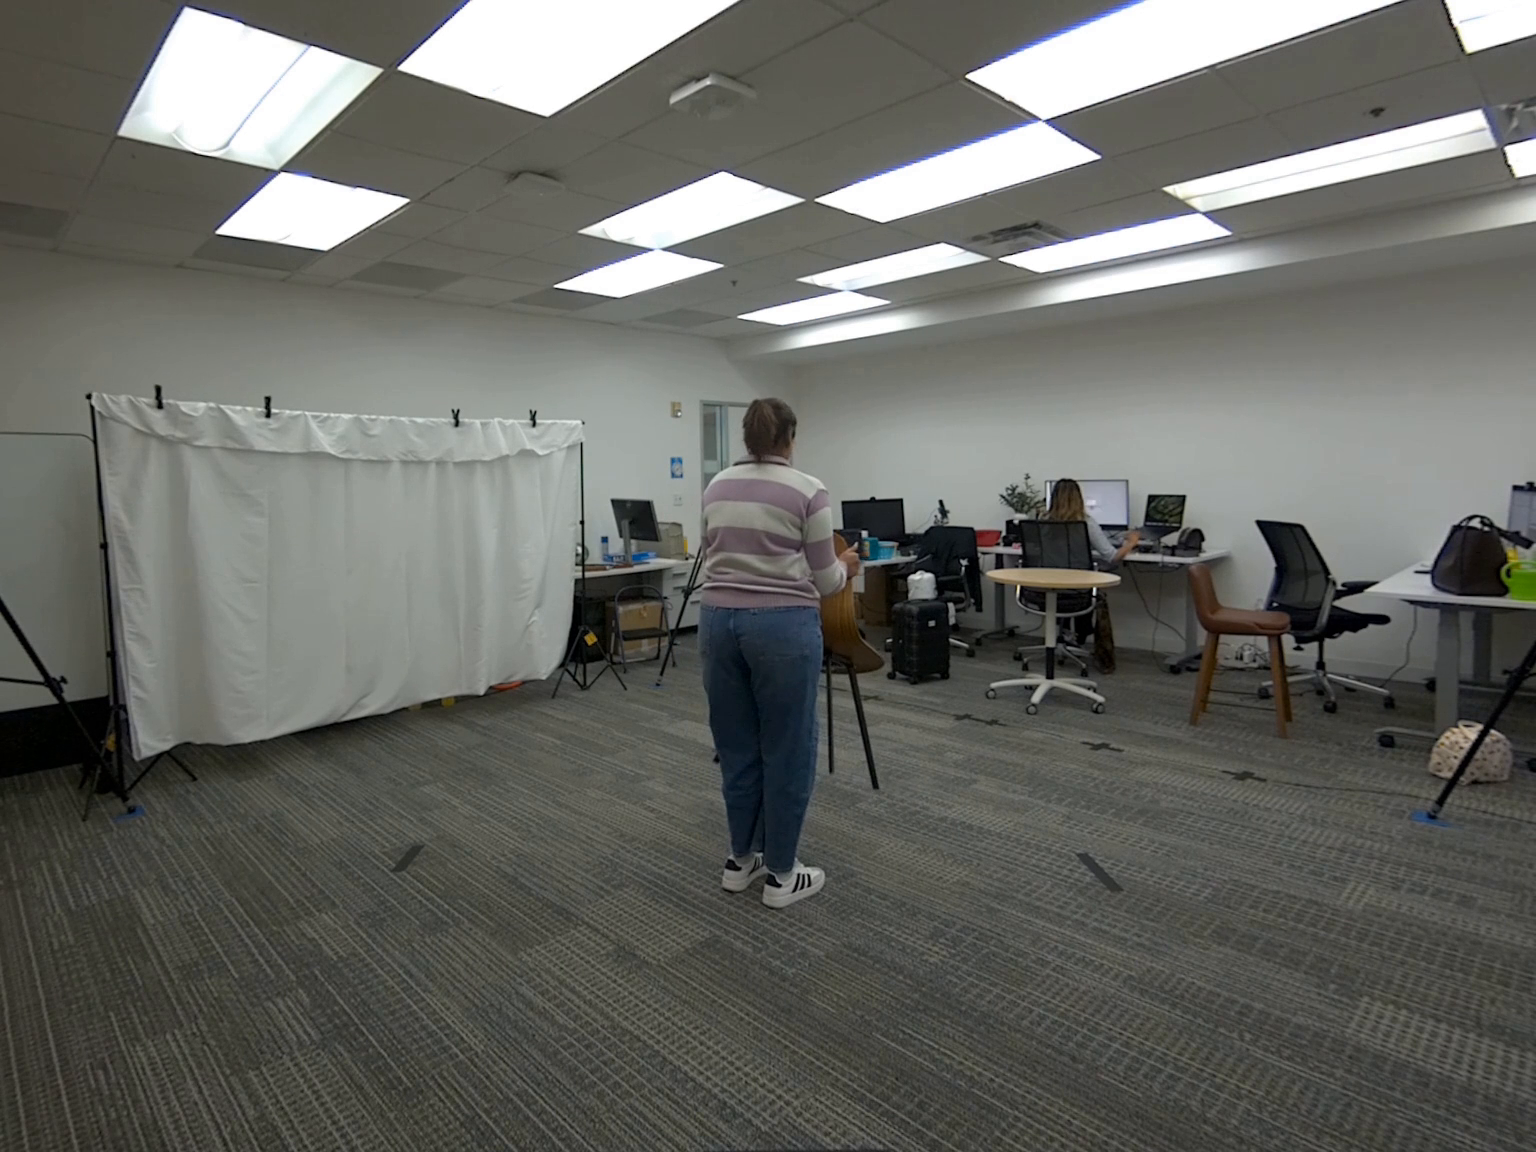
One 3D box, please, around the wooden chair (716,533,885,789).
[{"bbox_3d":[0.161,0.316,3.193,0.489,0.889,0.504,-4,-18,28],"label":"wooden chair"}]
